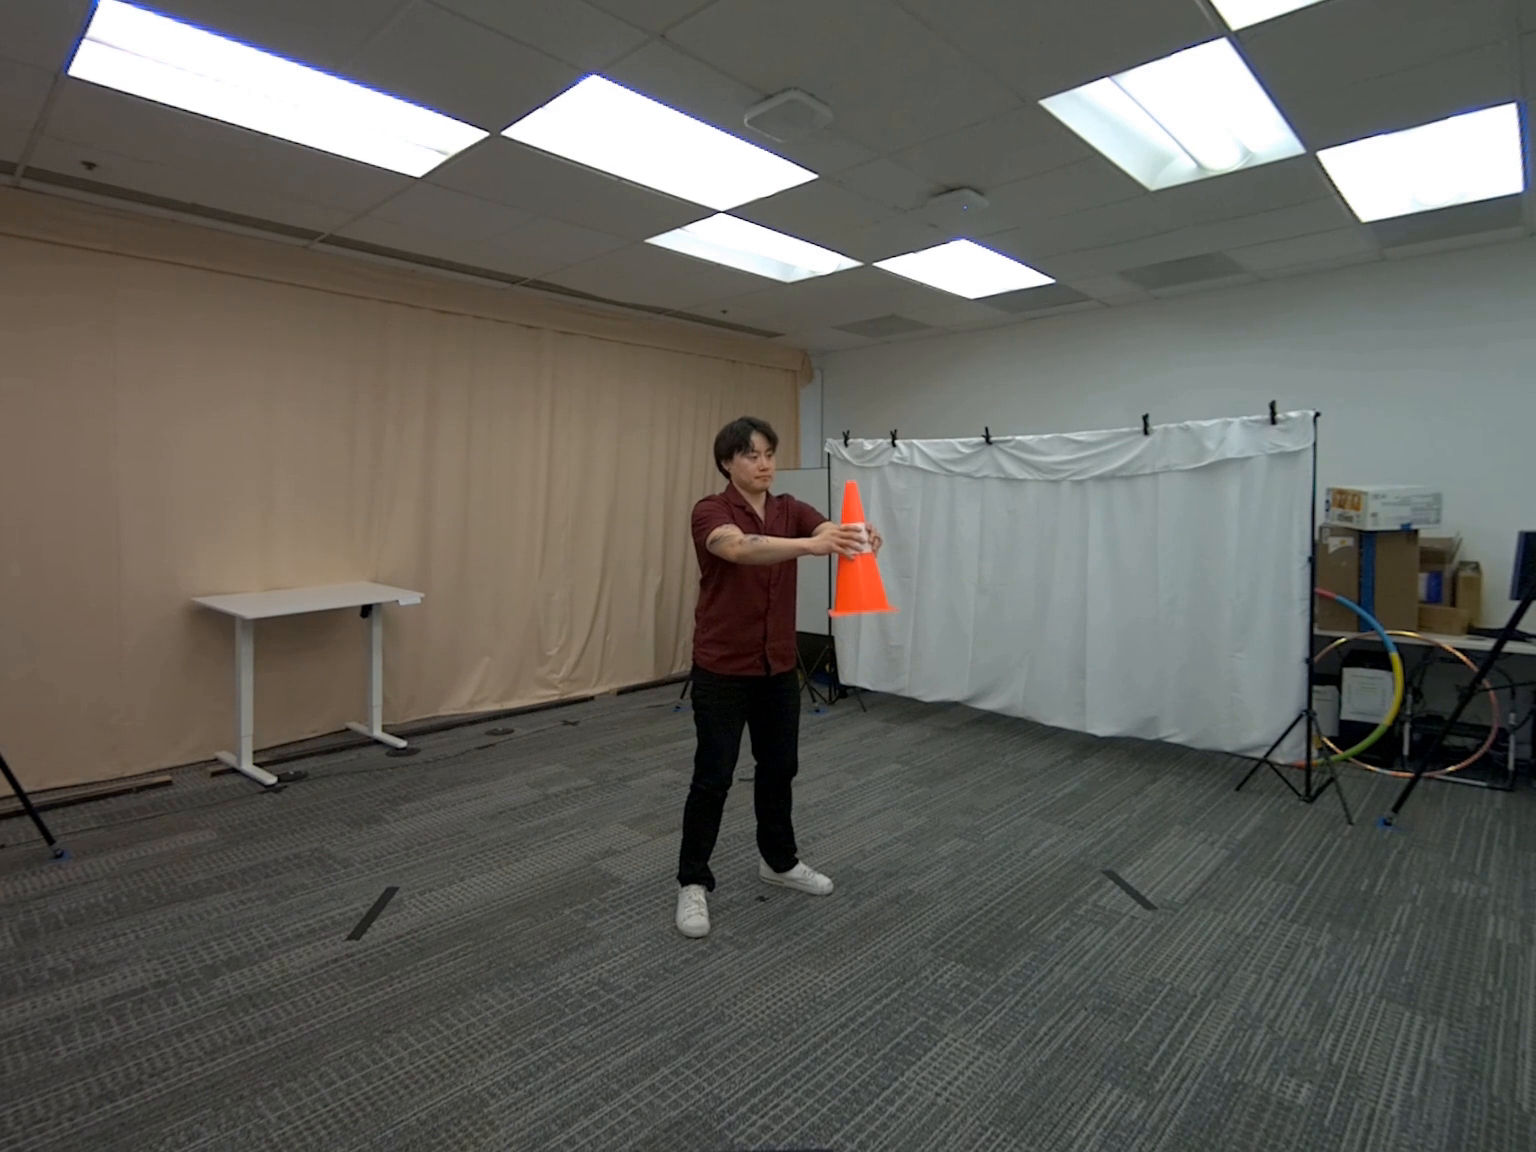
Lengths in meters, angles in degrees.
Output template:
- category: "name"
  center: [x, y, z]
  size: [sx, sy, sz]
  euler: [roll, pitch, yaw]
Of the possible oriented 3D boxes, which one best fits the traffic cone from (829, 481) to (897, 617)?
- category: "traffic cone"
  center: [0.267, -0.087, 2.469]
  size: [0.205, 0.384, 0.203]
  euler: [-6, -1, 6]
